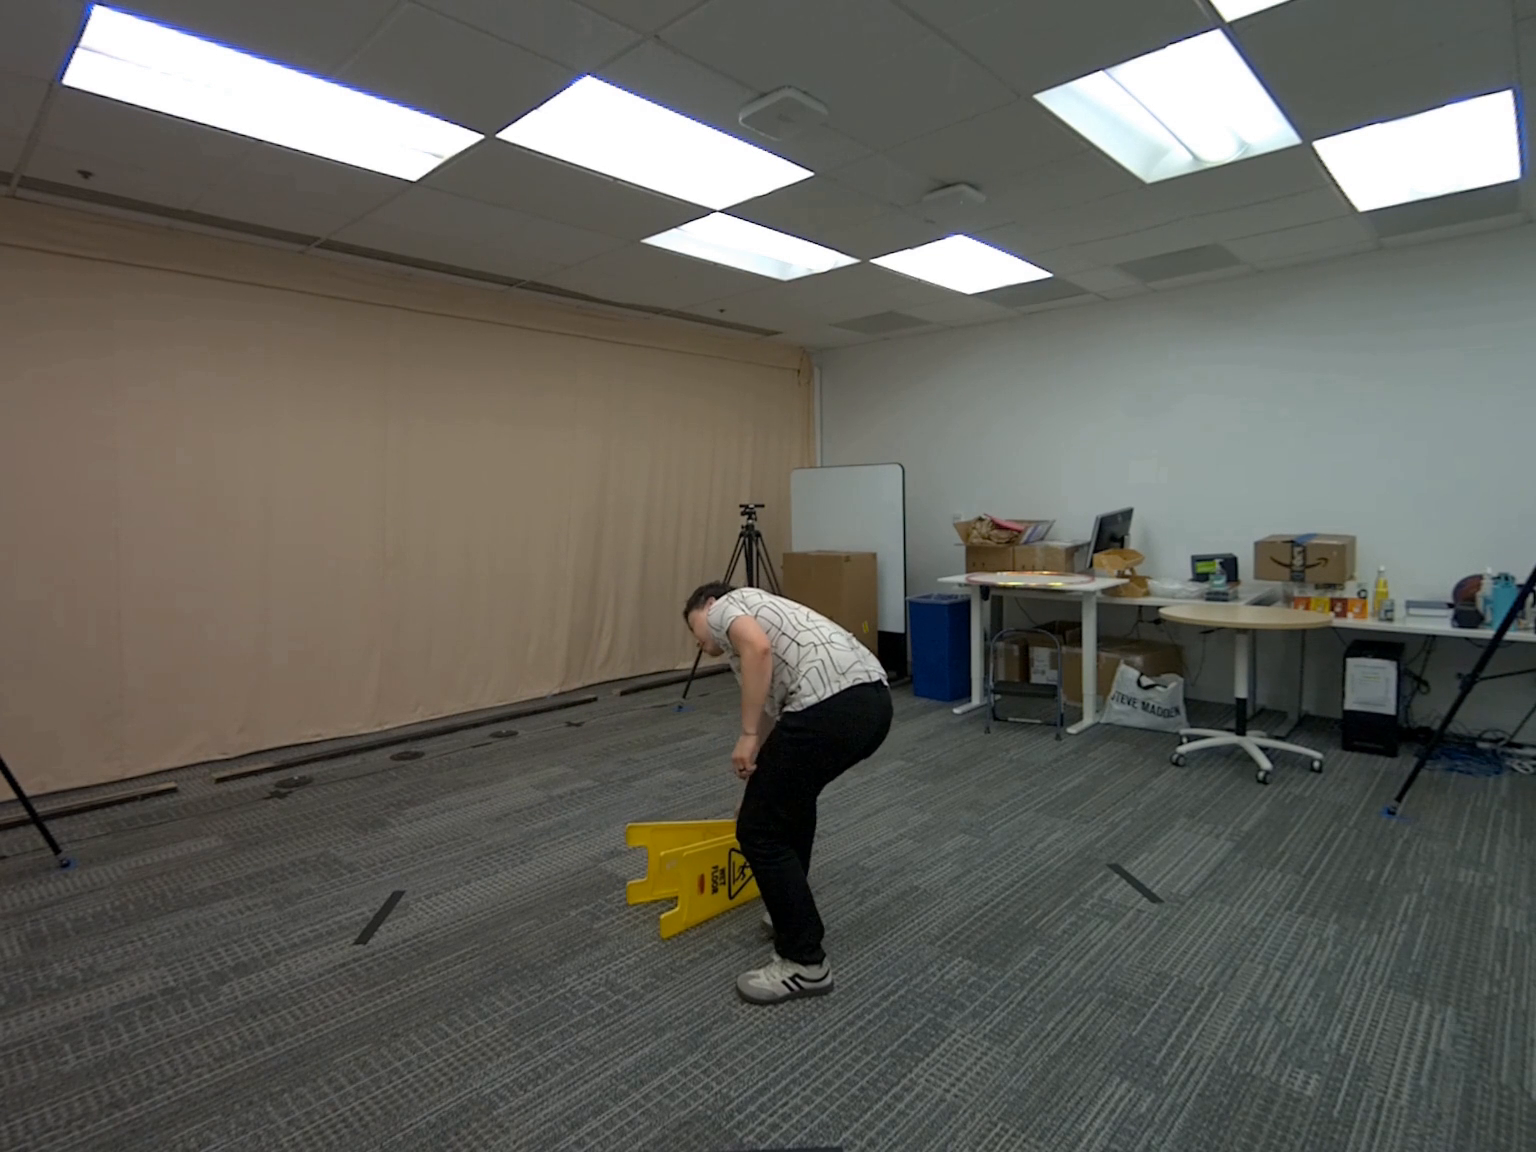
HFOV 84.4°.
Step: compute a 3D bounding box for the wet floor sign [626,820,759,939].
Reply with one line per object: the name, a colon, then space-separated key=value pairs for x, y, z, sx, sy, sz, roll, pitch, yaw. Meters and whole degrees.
wet floor sign: x=-0.146 y=1.011 z=2.983 sx=0.629 sy=0.282 sz=0.298 roll=-2 pitch=3 yaw=-30
